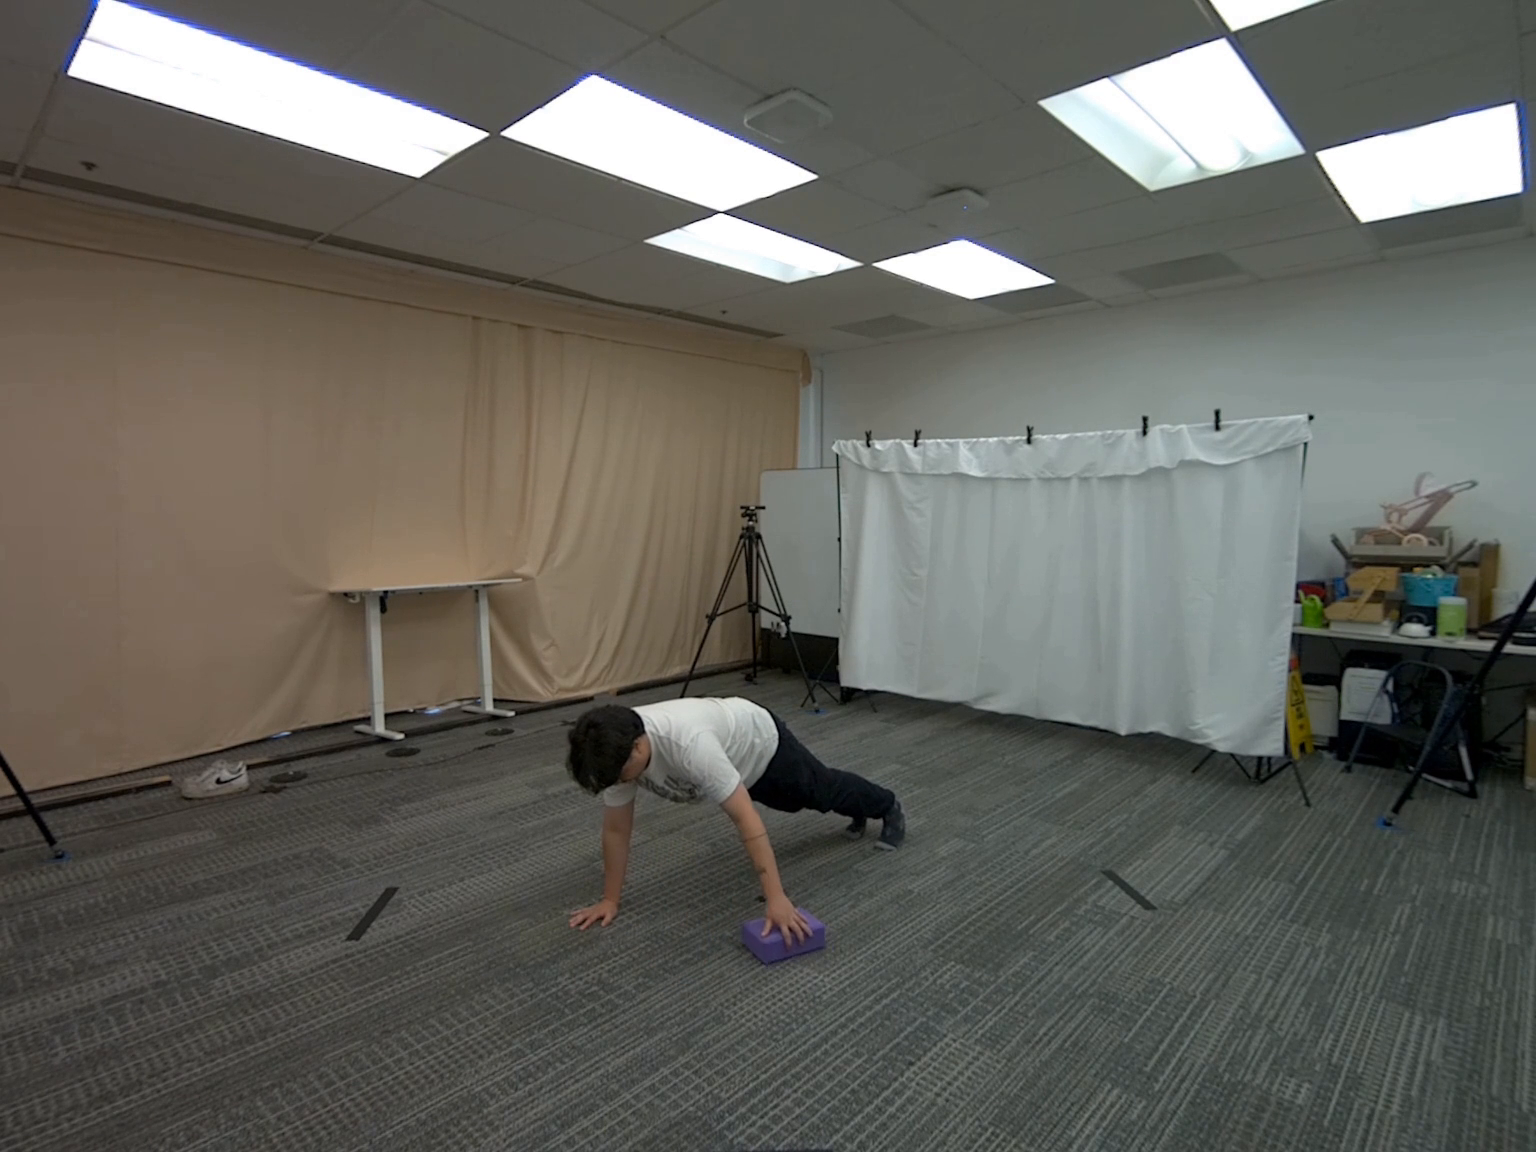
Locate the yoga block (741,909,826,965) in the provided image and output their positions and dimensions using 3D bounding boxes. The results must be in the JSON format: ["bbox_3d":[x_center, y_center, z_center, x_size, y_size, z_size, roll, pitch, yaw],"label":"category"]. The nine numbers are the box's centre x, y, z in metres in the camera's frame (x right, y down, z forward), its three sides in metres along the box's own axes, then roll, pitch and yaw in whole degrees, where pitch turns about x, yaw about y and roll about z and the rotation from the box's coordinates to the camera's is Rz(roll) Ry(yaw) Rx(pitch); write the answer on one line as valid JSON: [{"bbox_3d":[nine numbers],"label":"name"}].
[{"bbox_3d":[0.044,1.127,2.665,0.223,0.076,0.153,-4,6,-28],"label":"yoga block"}]
